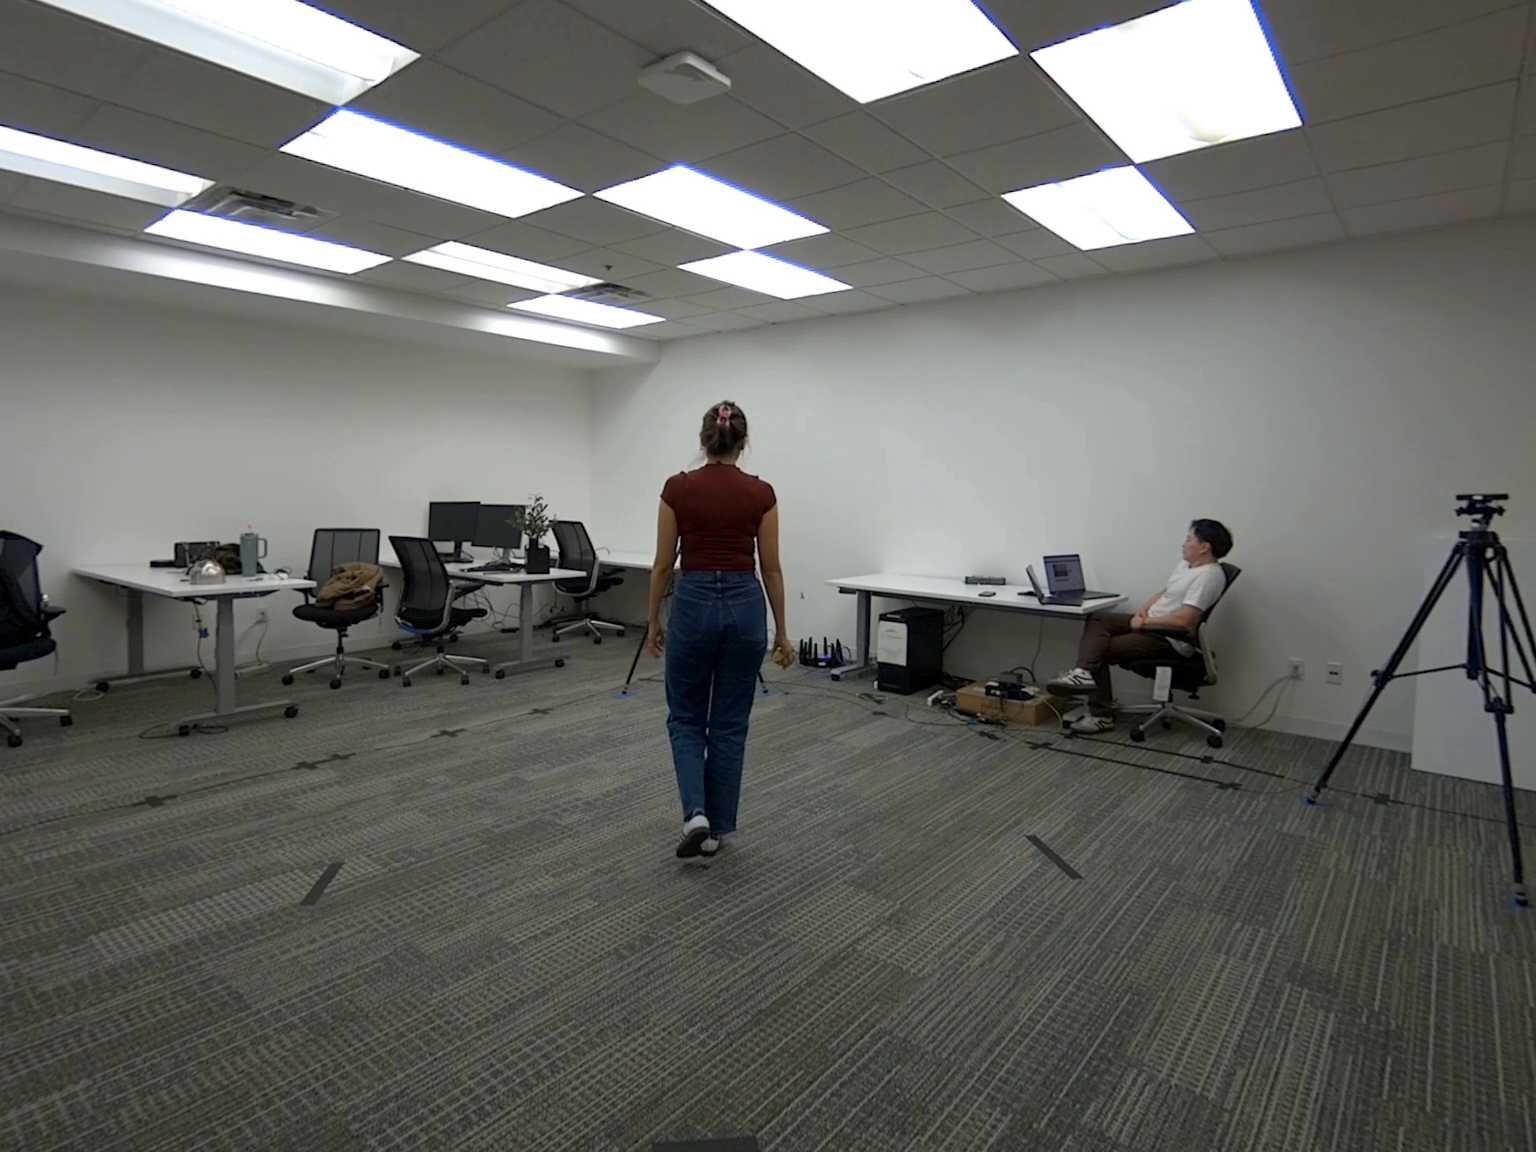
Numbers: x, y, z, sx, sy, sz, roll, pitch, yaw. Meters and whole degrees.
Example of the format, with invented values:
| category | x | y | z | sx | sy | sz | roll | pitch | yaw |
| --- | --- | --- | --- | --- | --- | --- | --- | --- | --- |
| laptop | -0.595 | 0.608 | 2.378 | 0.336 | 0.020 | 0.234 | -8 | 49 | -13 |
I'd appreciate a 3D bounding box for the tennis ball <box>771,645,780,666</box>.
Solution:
| category | x | y | z | sx | sy | sz | roll | pitch | yaw |
| --- | --- | --- | --- | --- | --- | --- | --- | --- | --- |
| tennis ball | 0.046 | 0.315 | 3.337 | 0.066 | 0.066 | 0.067 | 1 | 4 | -2 |
